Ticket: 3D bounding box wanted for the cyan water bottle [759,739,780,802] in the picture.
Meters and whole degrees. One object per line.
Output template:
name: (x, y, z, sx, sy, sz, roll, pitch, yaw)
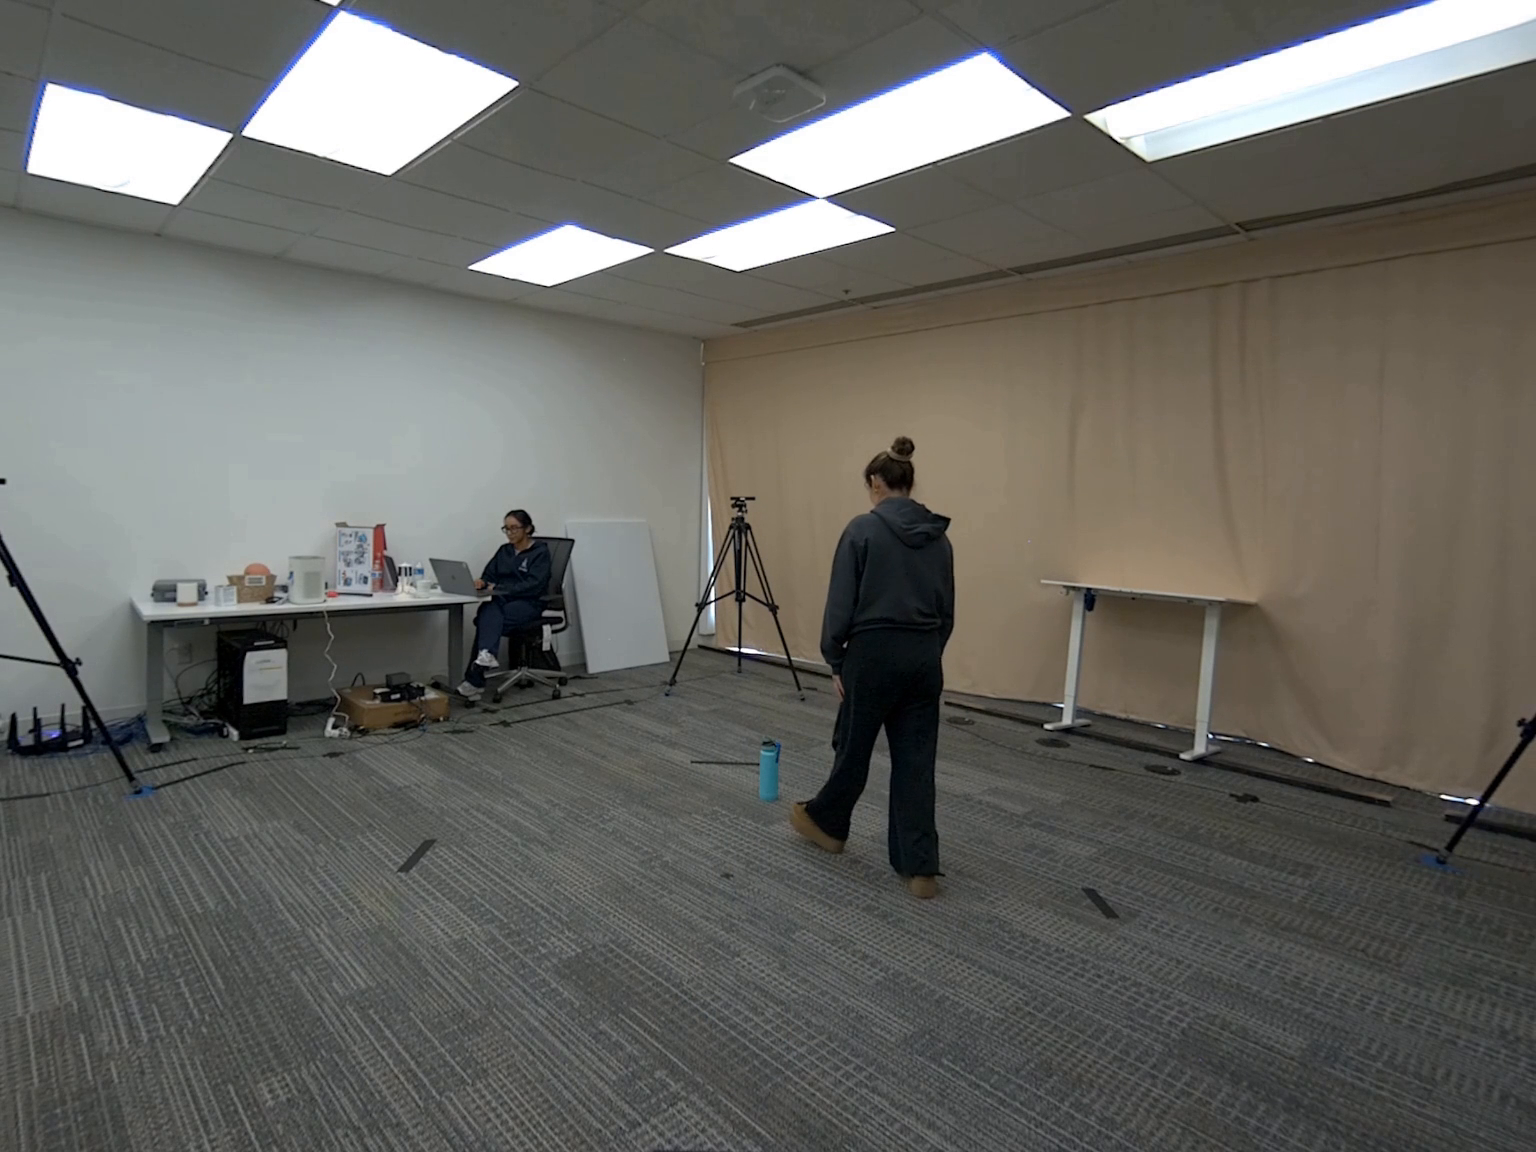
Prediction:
cyan water bottle: (-0.007, 0.895, 3.954, 0.092, 0.283, 0.092, 3, 3, -2)
